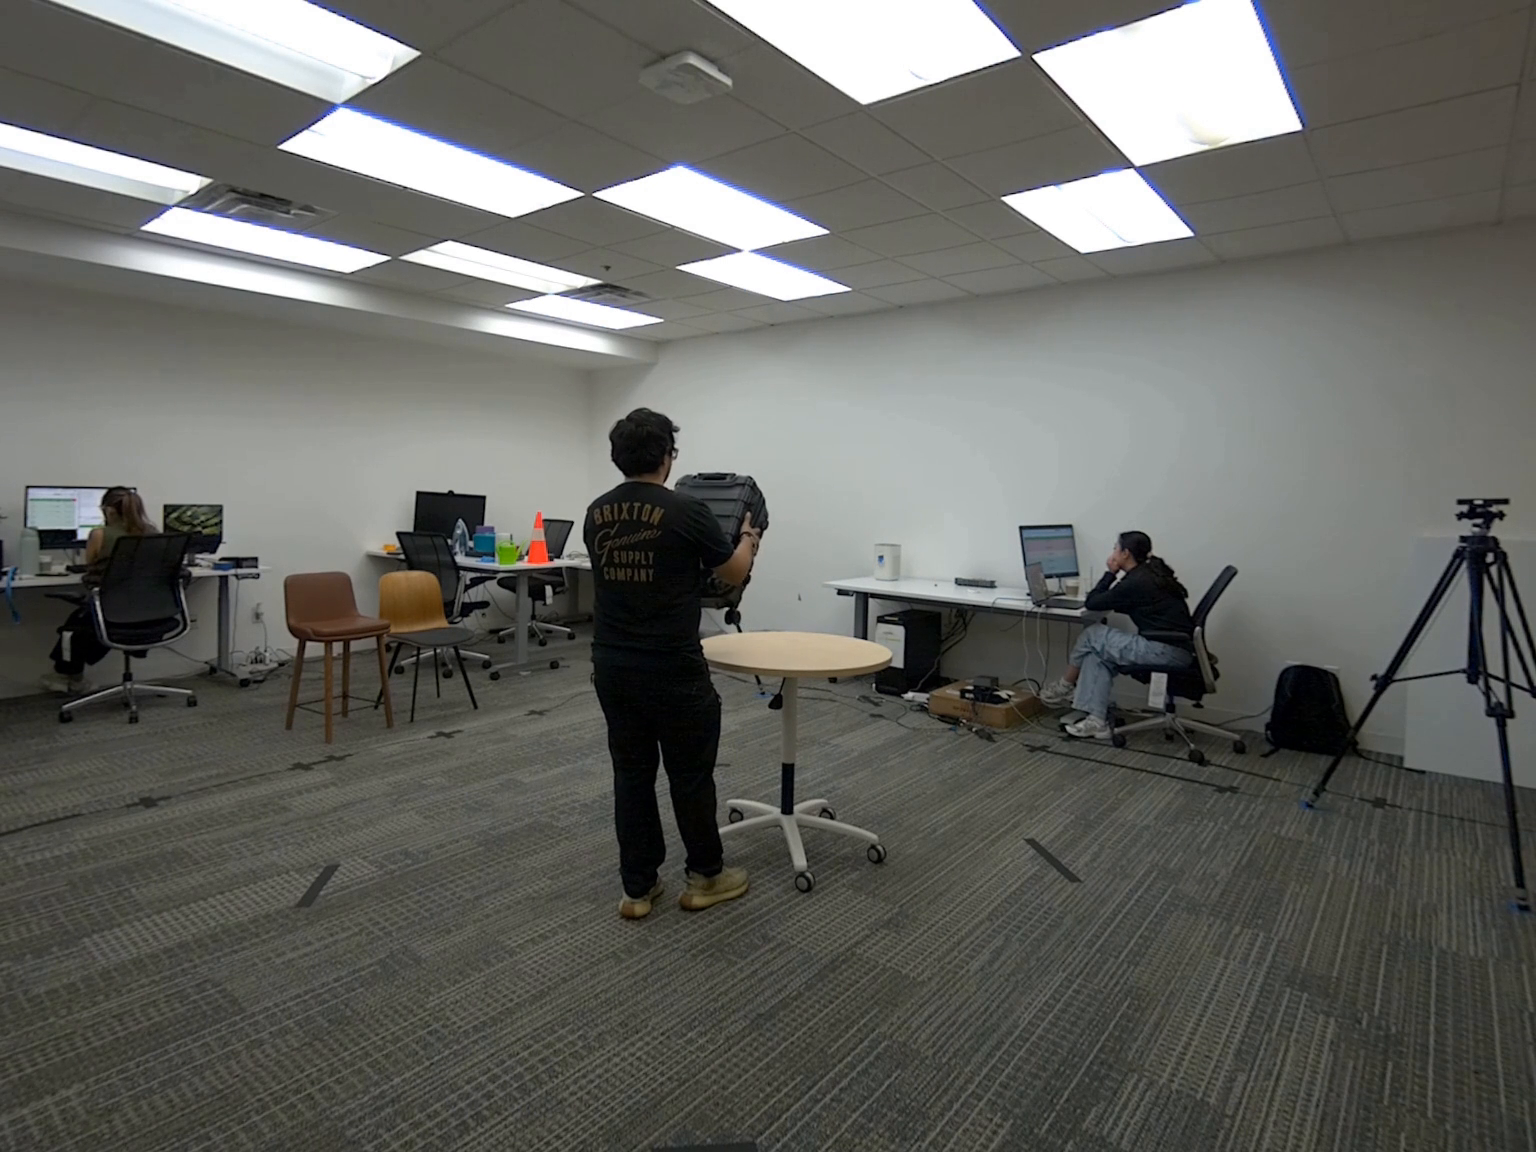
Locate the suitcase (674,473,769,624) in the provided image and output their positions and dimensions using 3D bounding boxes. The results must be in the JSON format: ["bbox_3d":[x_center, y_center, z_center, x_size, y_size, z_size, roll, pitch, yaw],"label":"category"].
[{"bbox_3d":[-0.240,-0.131,3.191,0.384,0.558,0.238,1,-39,23],"label":"suitcase"}]
